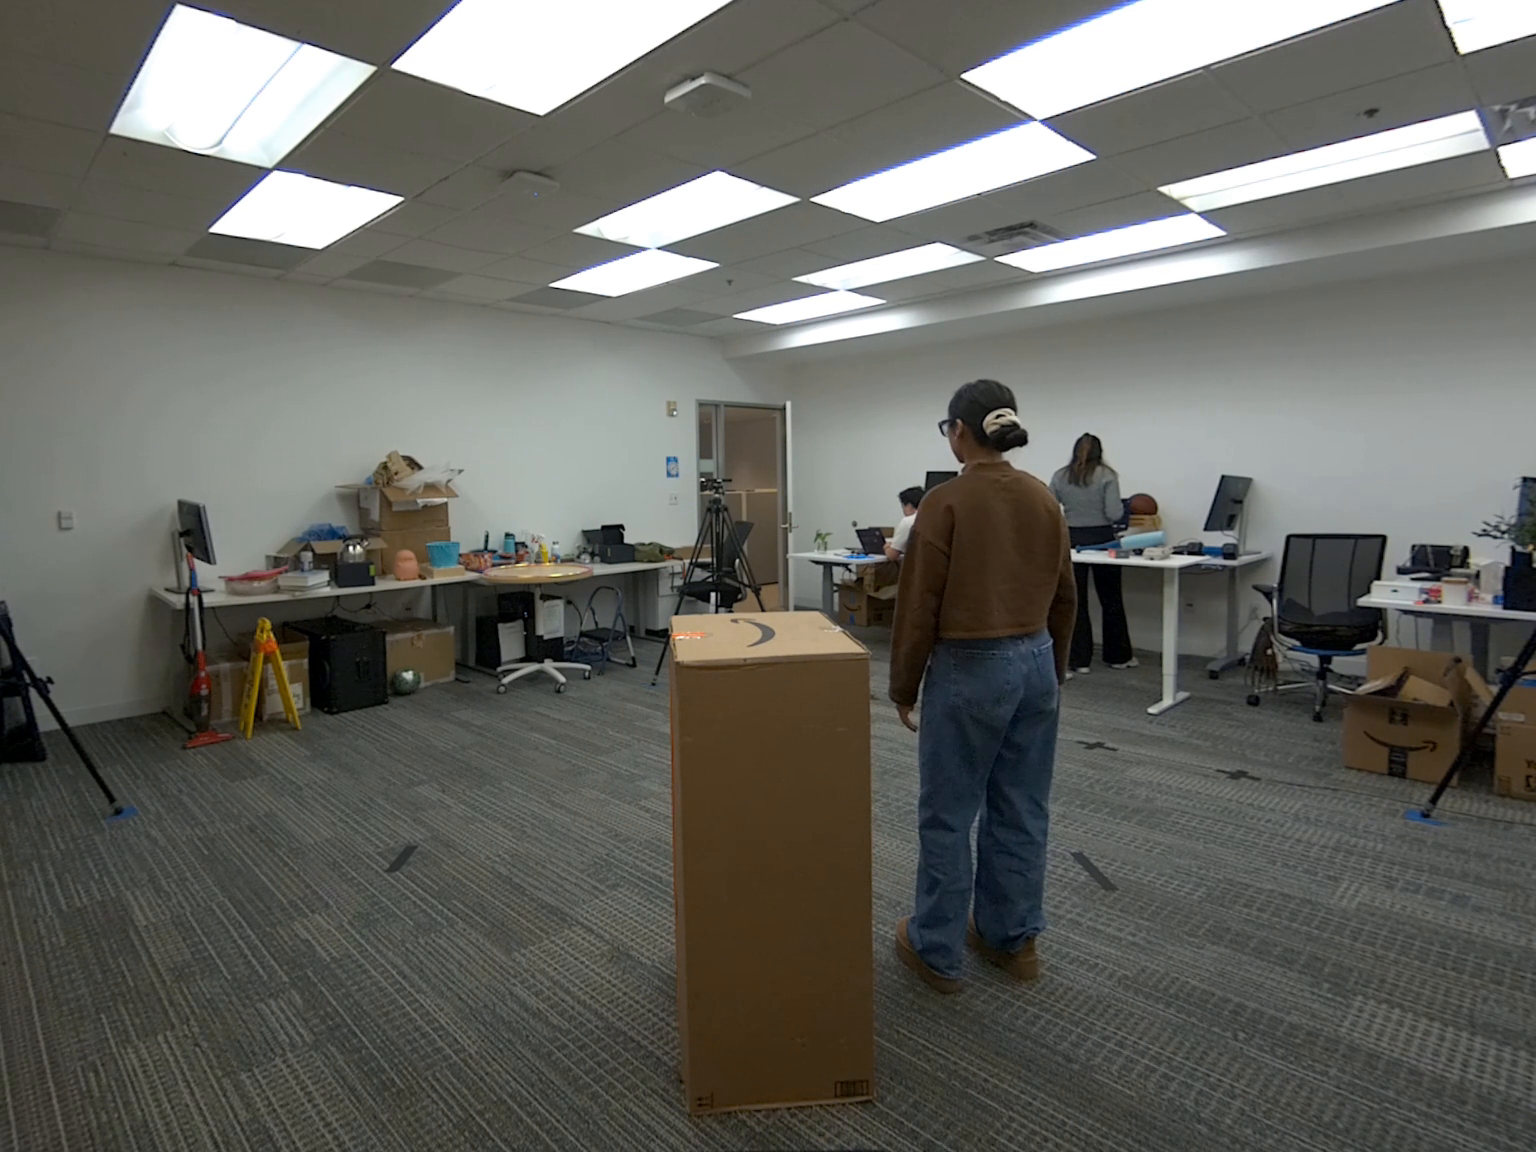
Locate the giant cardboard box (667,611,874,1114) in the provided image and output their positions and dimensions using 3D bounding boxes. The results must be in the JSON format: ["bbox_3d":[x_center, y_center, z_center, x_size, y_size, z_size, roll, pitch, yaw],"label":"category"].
[{"bbox_3d":[-0.010,0.648,2.139,0.423,1.021,0.584,-2,5,-8],"label":"giant cardboard box"}]
